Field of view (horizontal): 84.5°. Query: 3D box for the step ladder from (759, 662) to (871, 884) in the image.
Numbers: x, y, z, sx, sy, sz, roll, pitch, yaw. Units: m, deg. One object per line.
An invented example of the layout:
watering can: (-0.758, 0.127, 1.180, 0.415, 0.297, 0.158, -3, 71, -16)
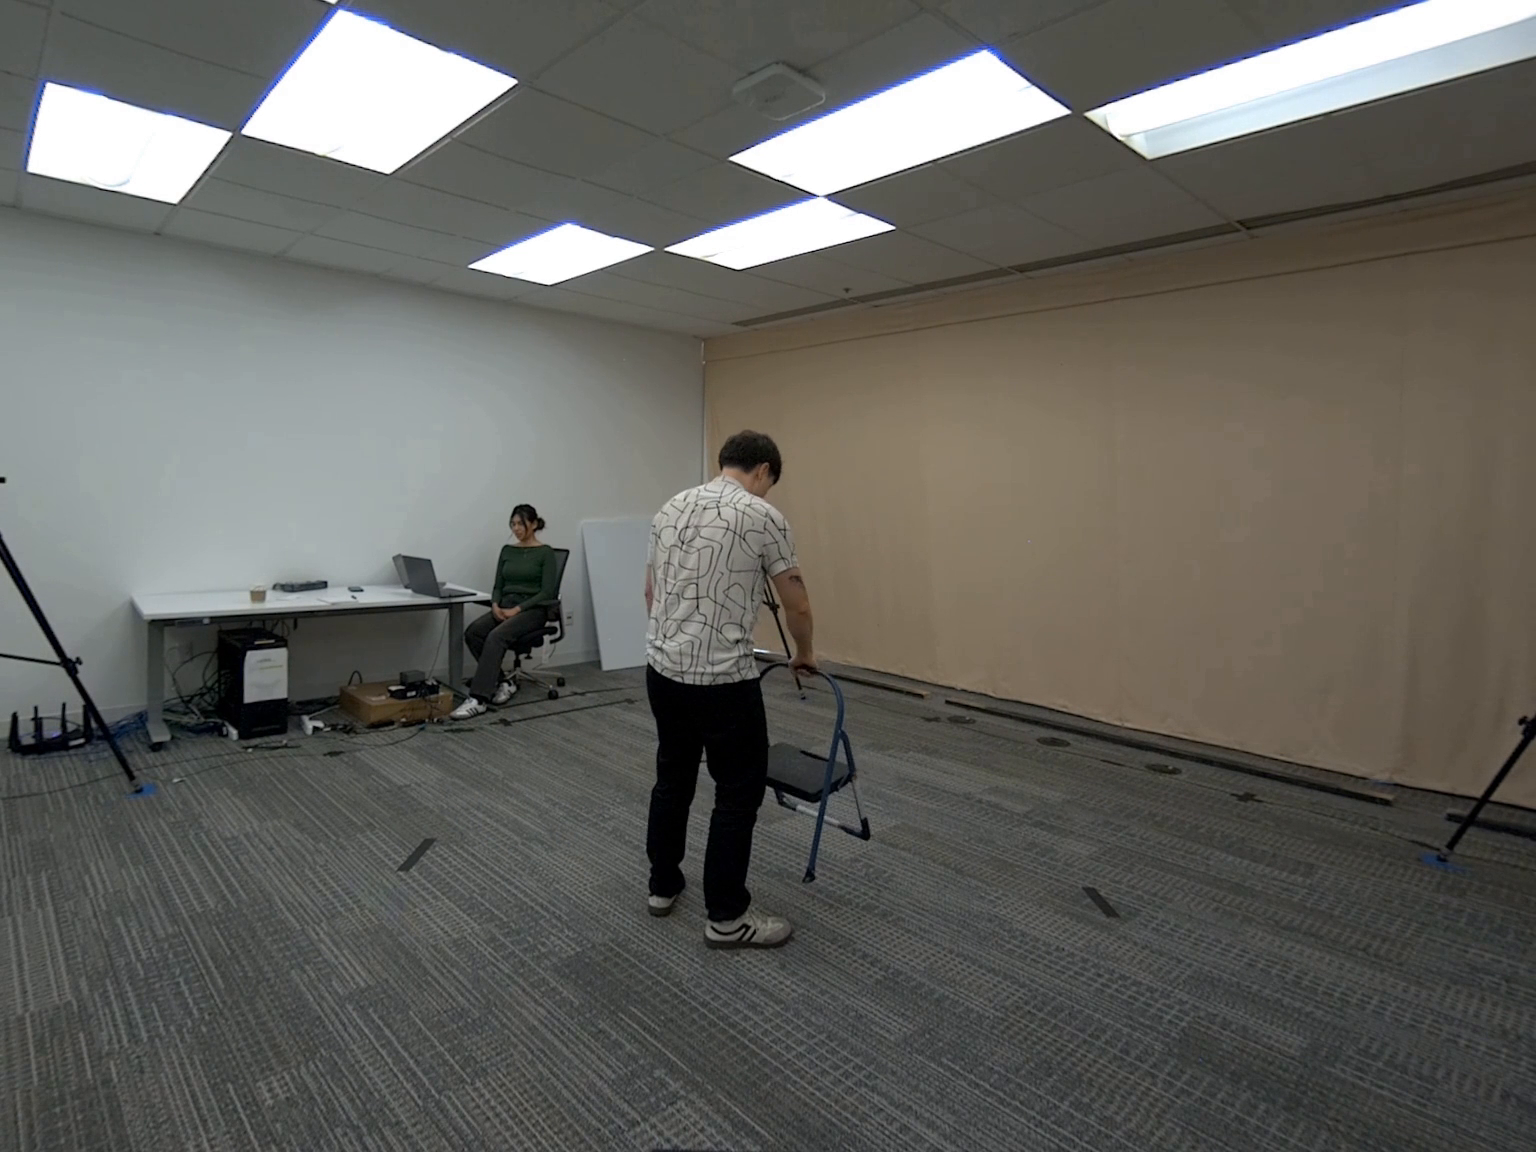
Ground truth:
step ladder: (0.078, 0.623, 2.855, 0.442, 0.601, 0.343, 8, 15, 42)
